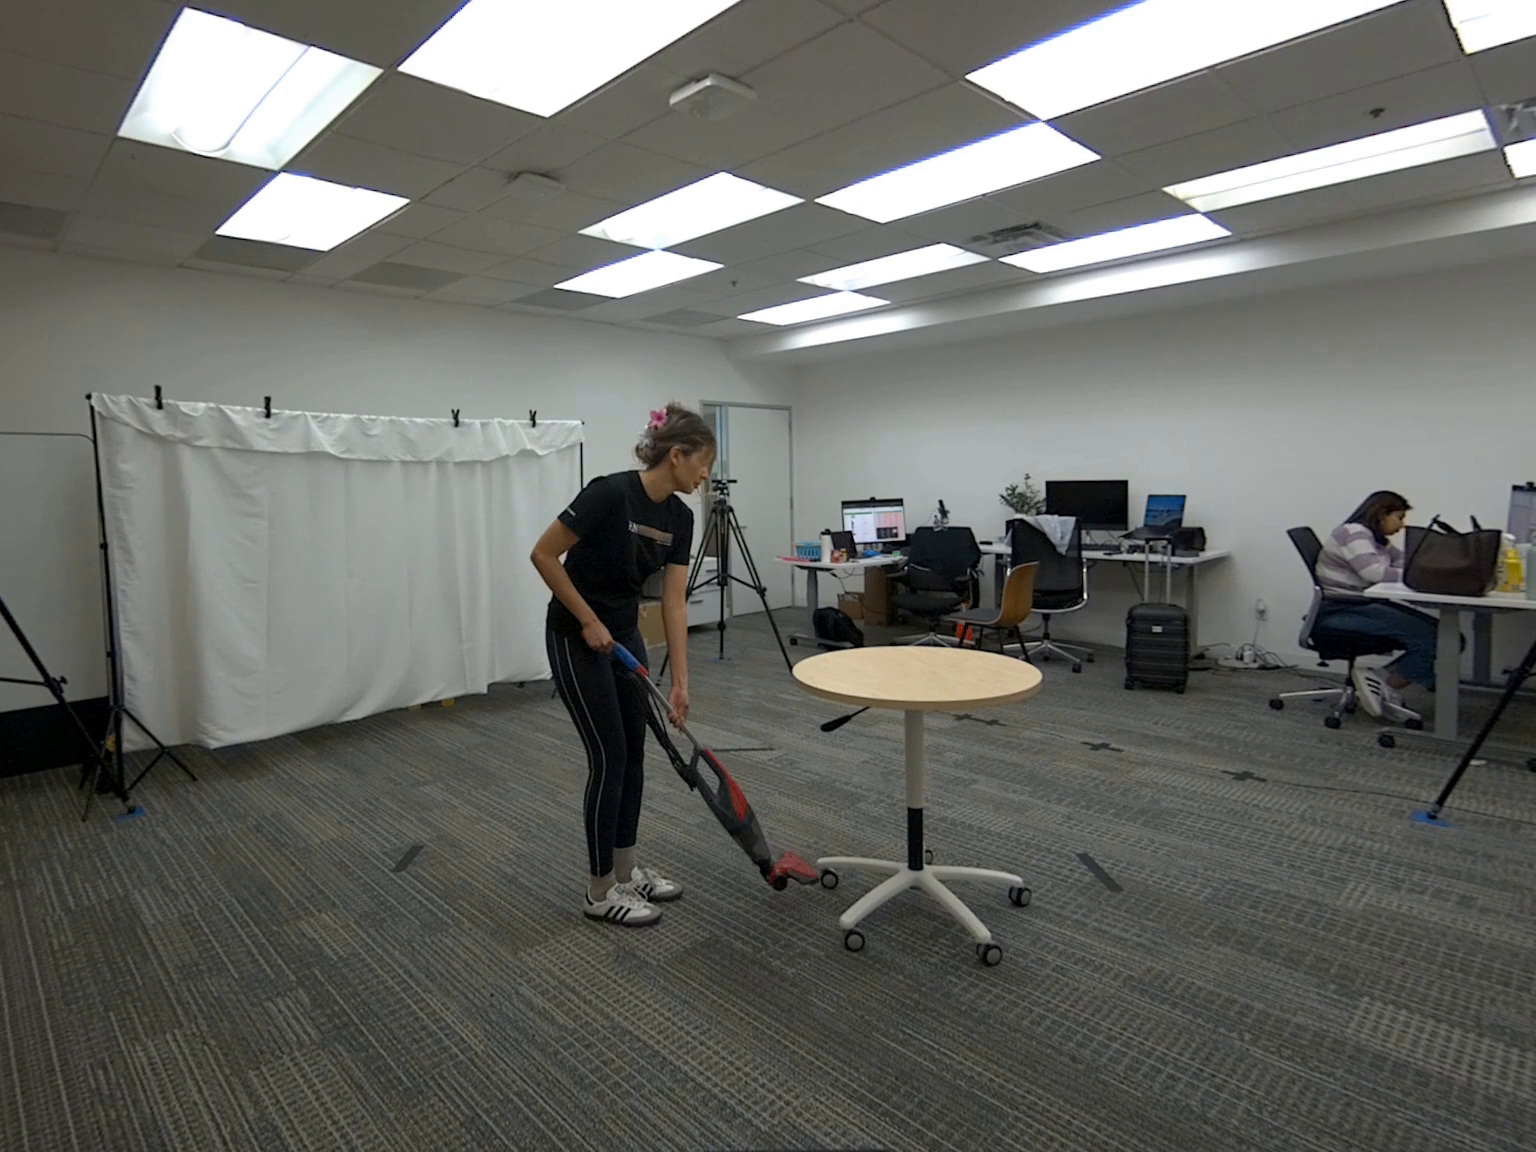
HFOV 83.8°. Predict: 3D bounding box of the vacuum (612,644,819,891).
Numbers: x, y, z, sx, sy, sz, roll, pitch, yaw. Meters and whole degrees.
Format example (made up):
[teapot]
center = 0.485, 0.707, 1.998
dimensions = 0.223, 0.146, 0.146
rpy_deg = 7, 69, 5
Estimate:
[vacuum]
center = -0.247, 0.573, 2.734
dimensions = 0.143, 1.035, 0.256
rpy_deg = -40, 10, -16
